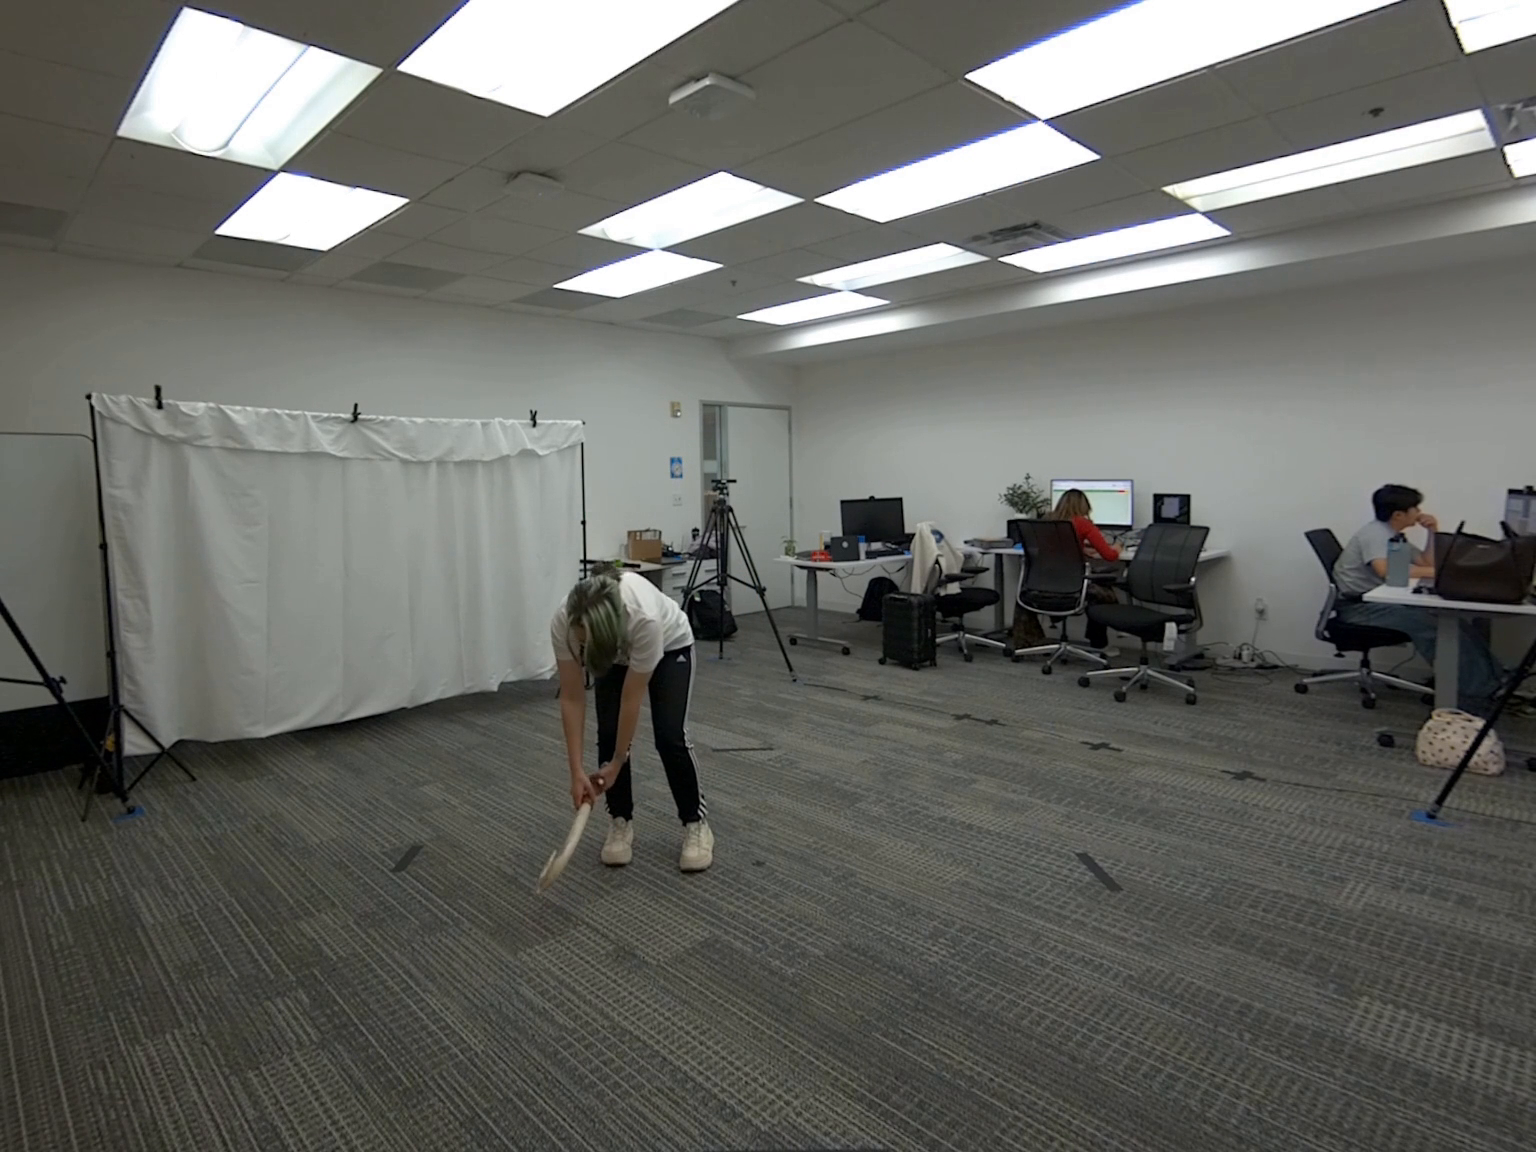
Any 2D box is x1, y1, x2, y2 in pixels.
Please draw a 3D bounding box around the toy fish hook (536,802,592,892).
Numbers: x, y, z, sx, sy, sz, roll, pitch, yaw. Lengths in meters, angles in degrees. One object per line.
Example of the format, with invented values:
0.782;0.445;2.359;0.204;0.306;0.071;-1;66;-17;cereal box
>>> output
-0.664;0.837;2.849;0.225;0.047;0.513;-45;14;28;toy fish hook
